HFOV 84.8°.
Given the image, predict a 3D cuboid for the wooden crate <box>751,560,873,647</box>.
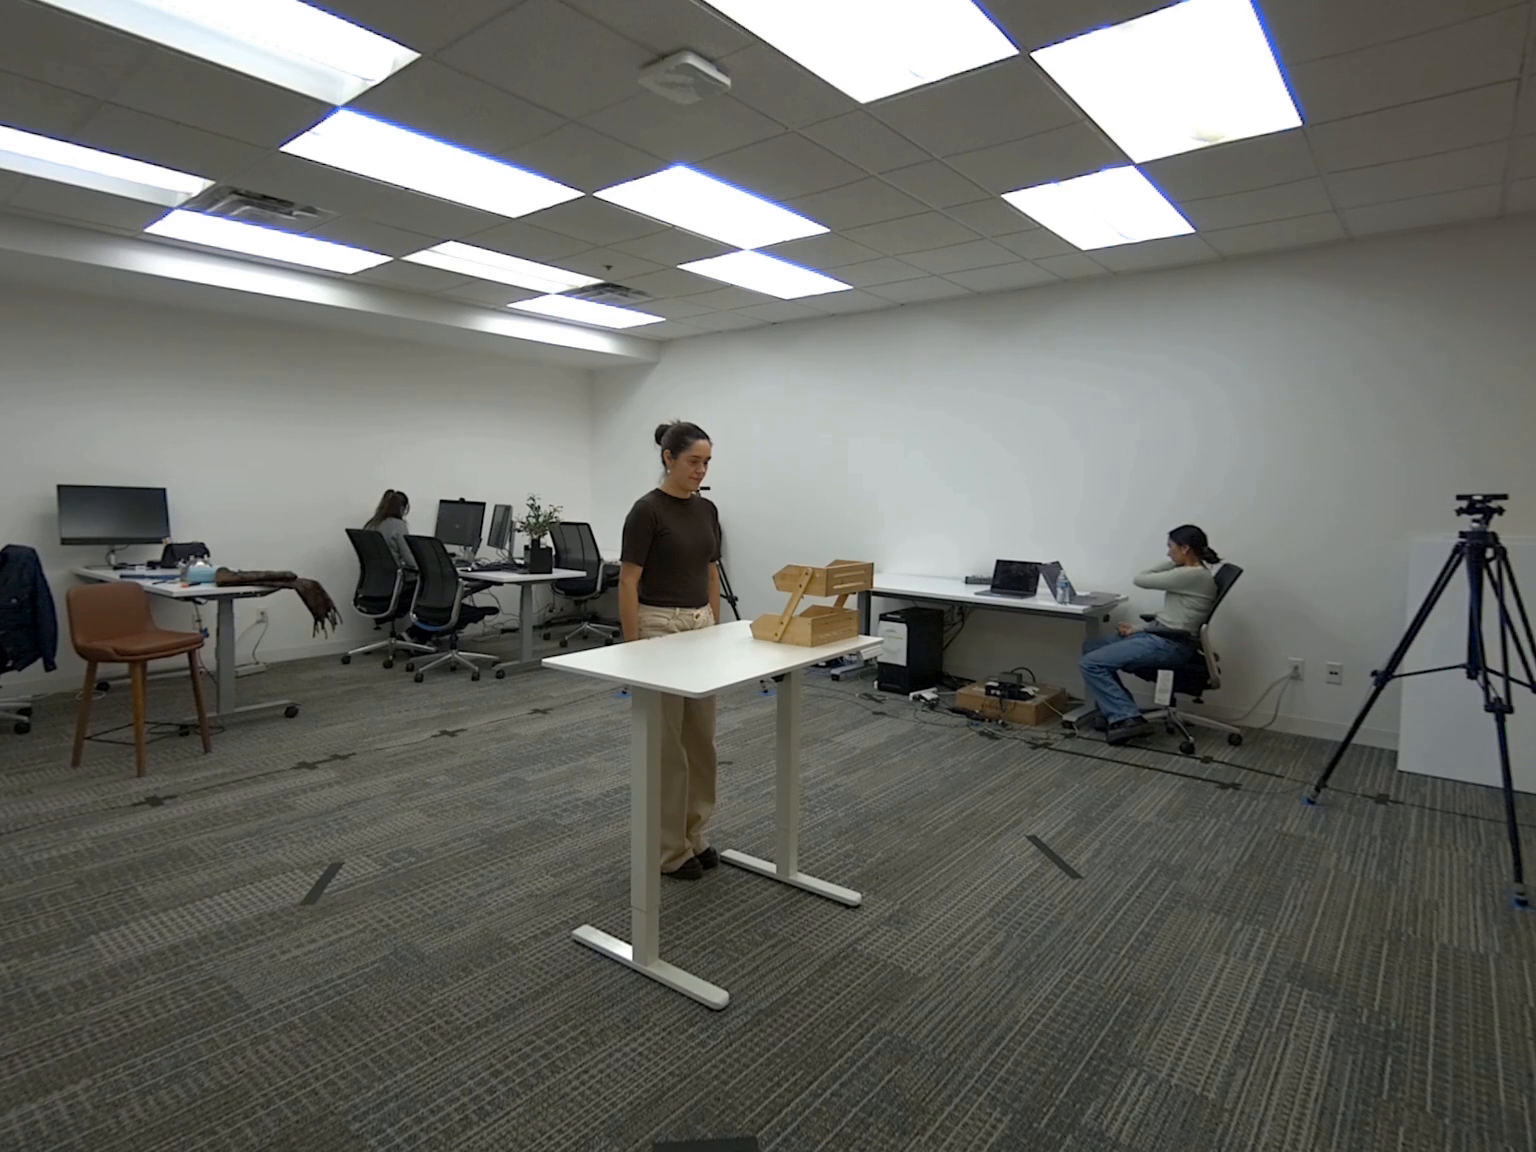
[{"bbox_3d":[0.141,0.075,2.882,0.312,0.272,0.315,6,7,37],"label":"wooden crate"}]
